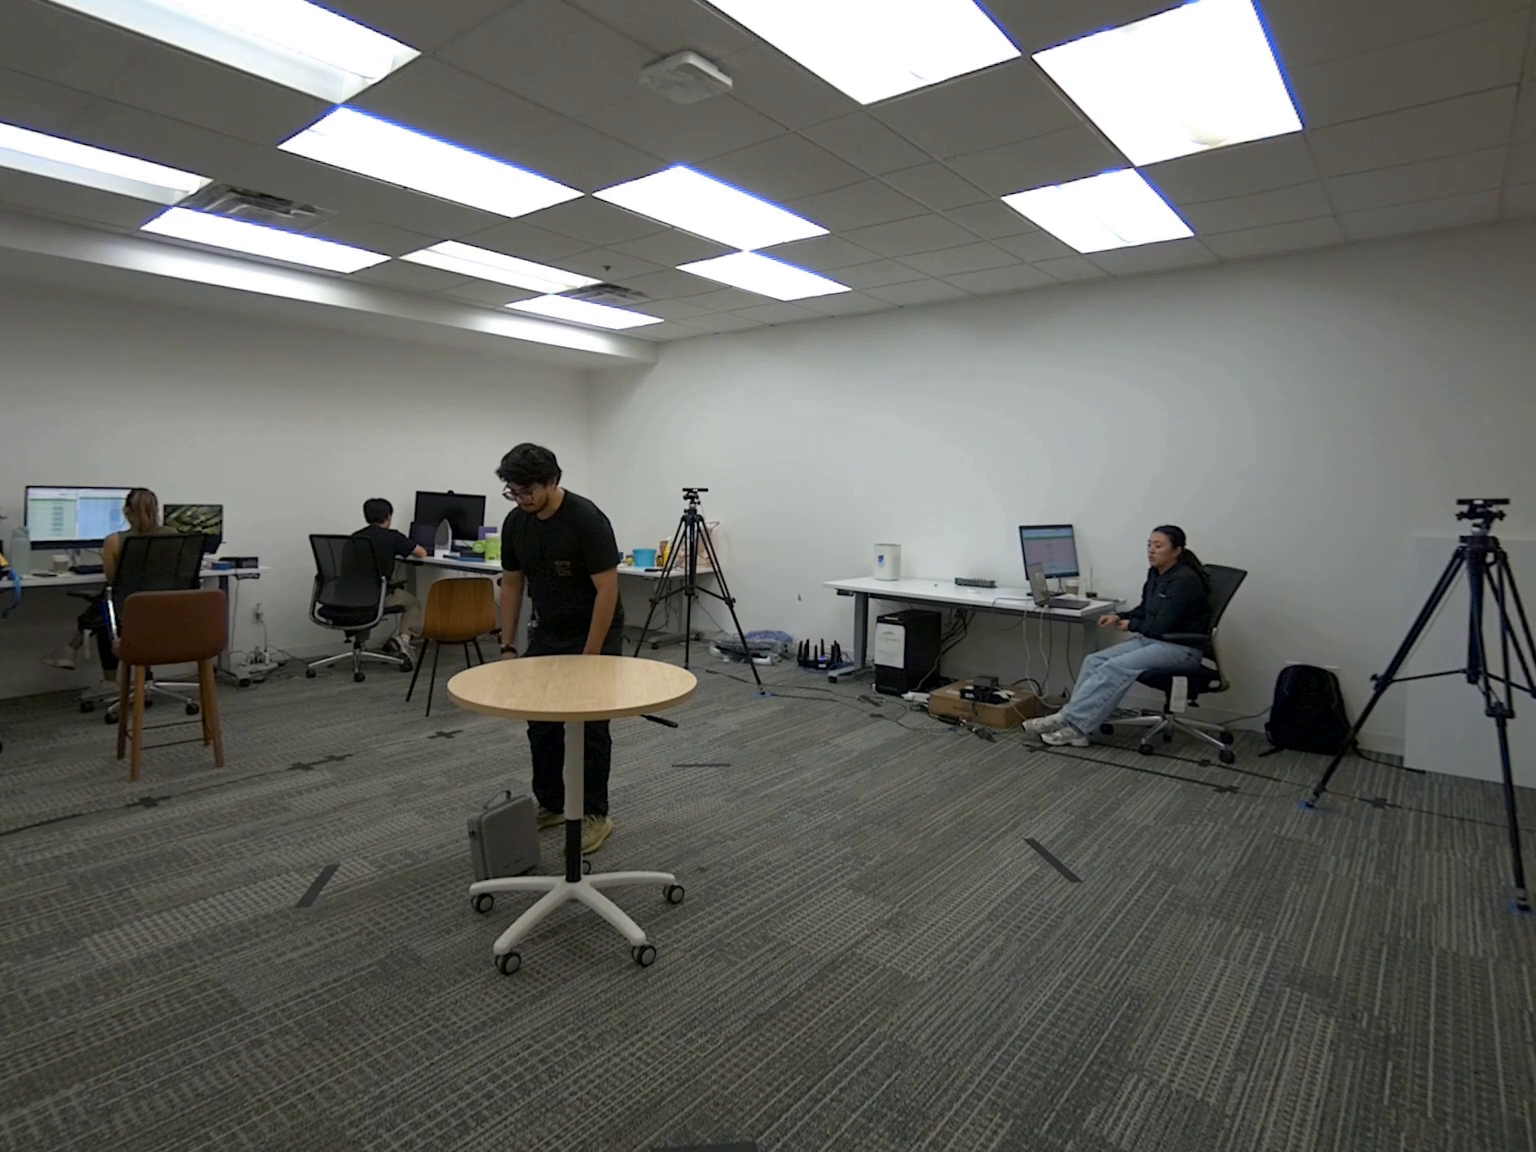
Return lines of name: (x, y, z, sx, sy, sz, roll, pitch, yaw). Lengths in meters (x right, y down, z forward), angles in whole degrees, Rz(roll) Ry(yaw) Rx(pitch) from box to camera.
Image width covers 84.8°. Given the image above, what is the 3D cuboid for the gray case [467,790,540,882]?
gray case: (-0.956, 0.938, 3.033, 0.107, 0.261, 0.250, -8, 0, 30)
